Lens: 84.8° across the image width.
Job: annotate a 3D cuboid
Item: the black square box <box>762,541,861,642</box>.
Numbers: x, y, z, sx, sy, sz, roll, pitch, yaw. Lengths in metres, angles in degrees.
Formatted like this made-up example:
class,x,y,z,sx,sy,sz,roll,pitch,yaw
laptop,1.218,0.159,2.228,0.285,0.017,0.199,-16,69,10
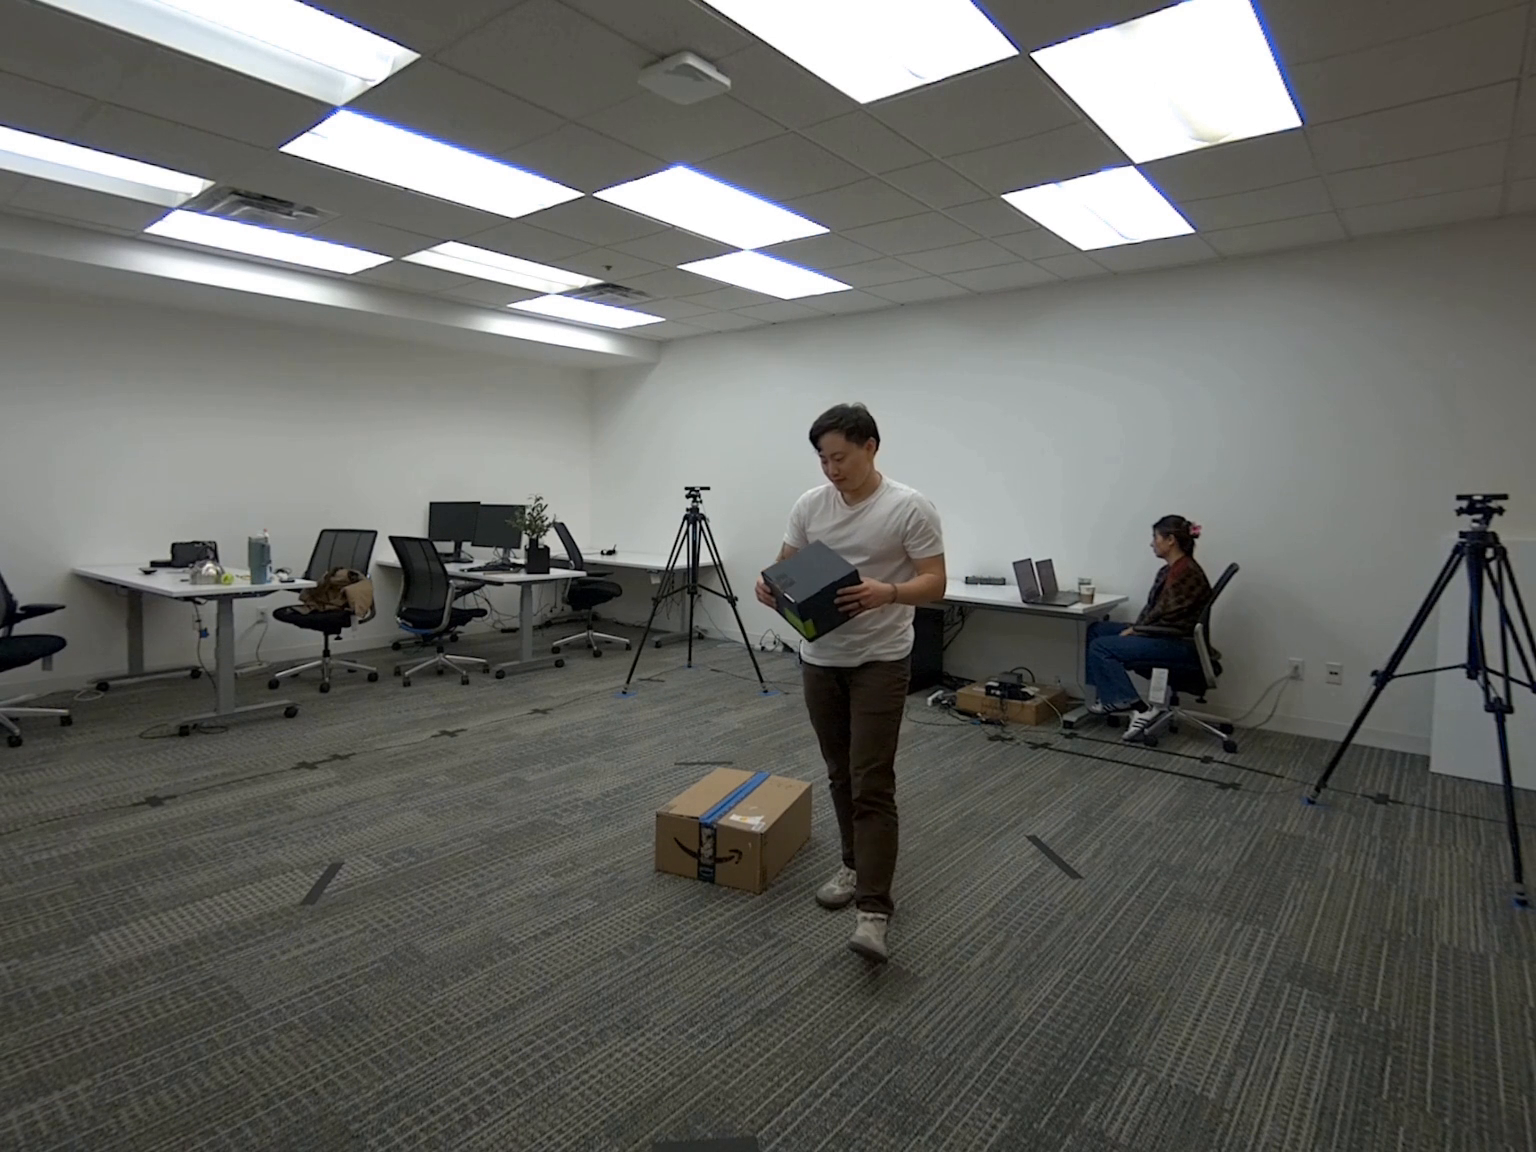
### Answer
class,x,y,z,sx,sy,sz,roll,pitch,yaw
black square box,0.135,0.036,2.585,0.215,0.150,0.237,-29,35,-13
